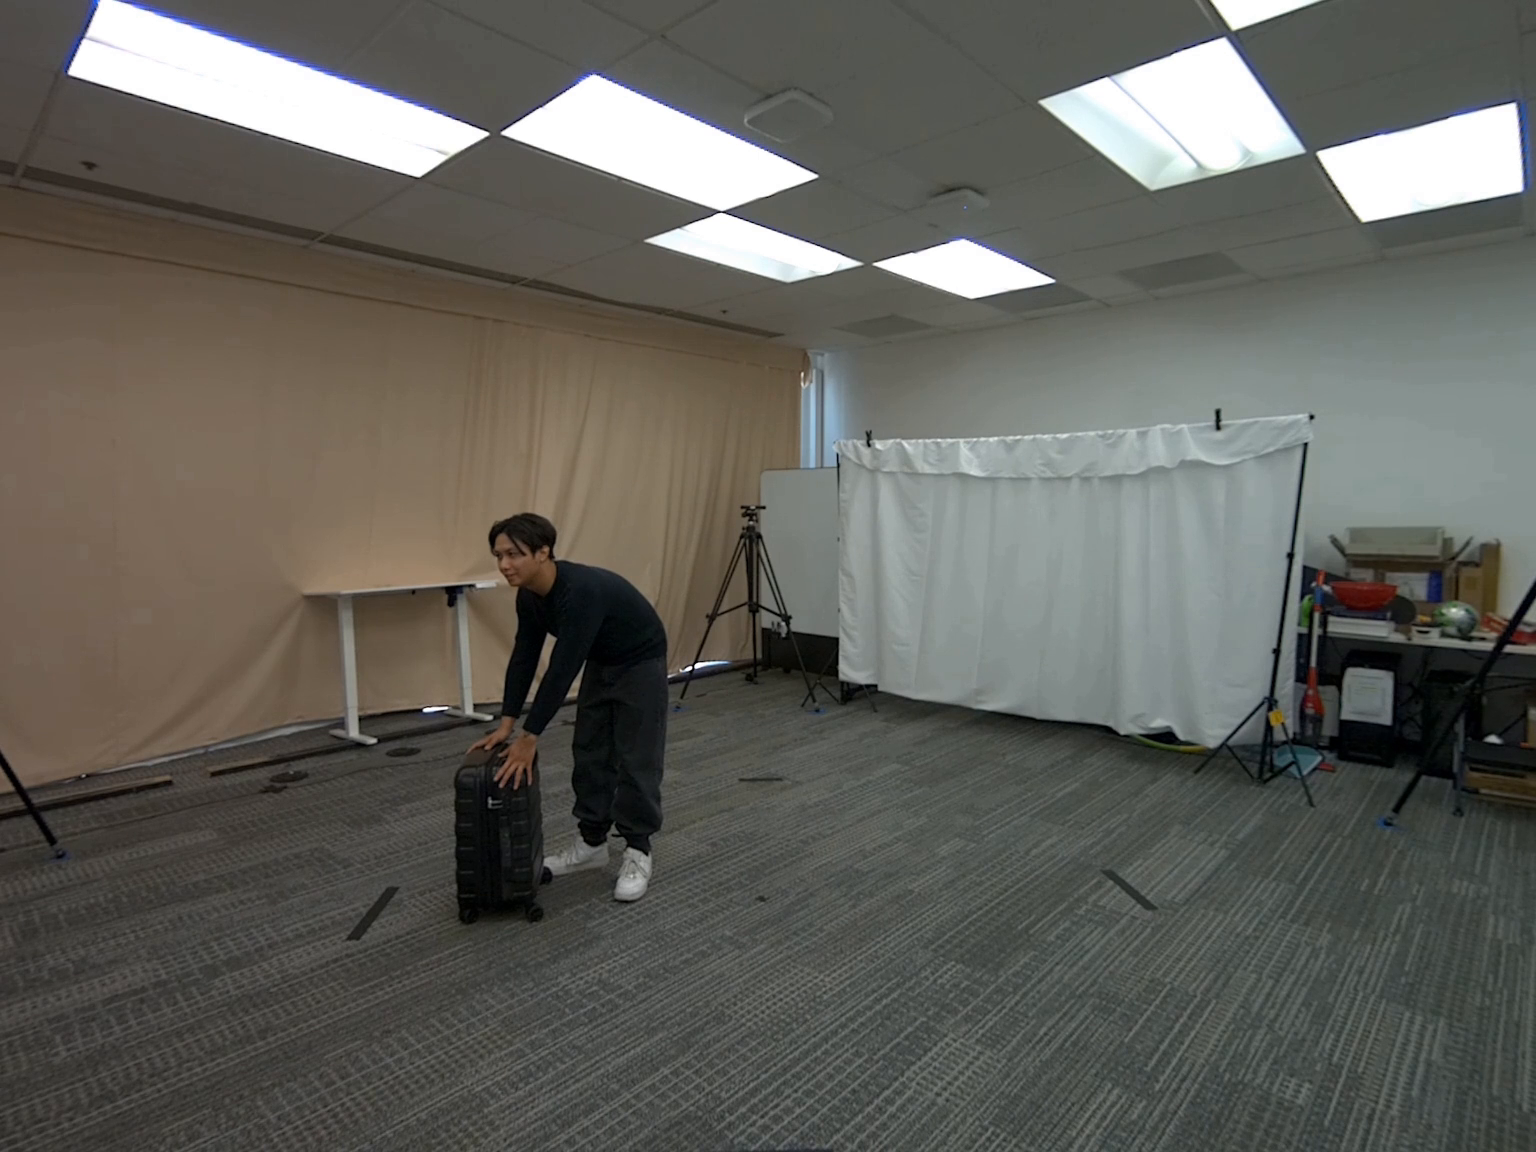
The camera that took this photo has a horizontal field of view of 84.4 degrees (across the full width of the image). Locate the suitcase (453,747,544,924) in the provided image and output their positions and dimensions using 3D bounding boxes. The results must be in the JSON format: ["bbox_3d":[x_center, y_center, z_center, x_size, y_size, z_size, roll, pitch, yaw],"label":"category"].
[{"bbox_3d":[-0.944,0.877,2.954,0.247,0.548,0.378,-1,3,-6],"label":"suitcase"}]
